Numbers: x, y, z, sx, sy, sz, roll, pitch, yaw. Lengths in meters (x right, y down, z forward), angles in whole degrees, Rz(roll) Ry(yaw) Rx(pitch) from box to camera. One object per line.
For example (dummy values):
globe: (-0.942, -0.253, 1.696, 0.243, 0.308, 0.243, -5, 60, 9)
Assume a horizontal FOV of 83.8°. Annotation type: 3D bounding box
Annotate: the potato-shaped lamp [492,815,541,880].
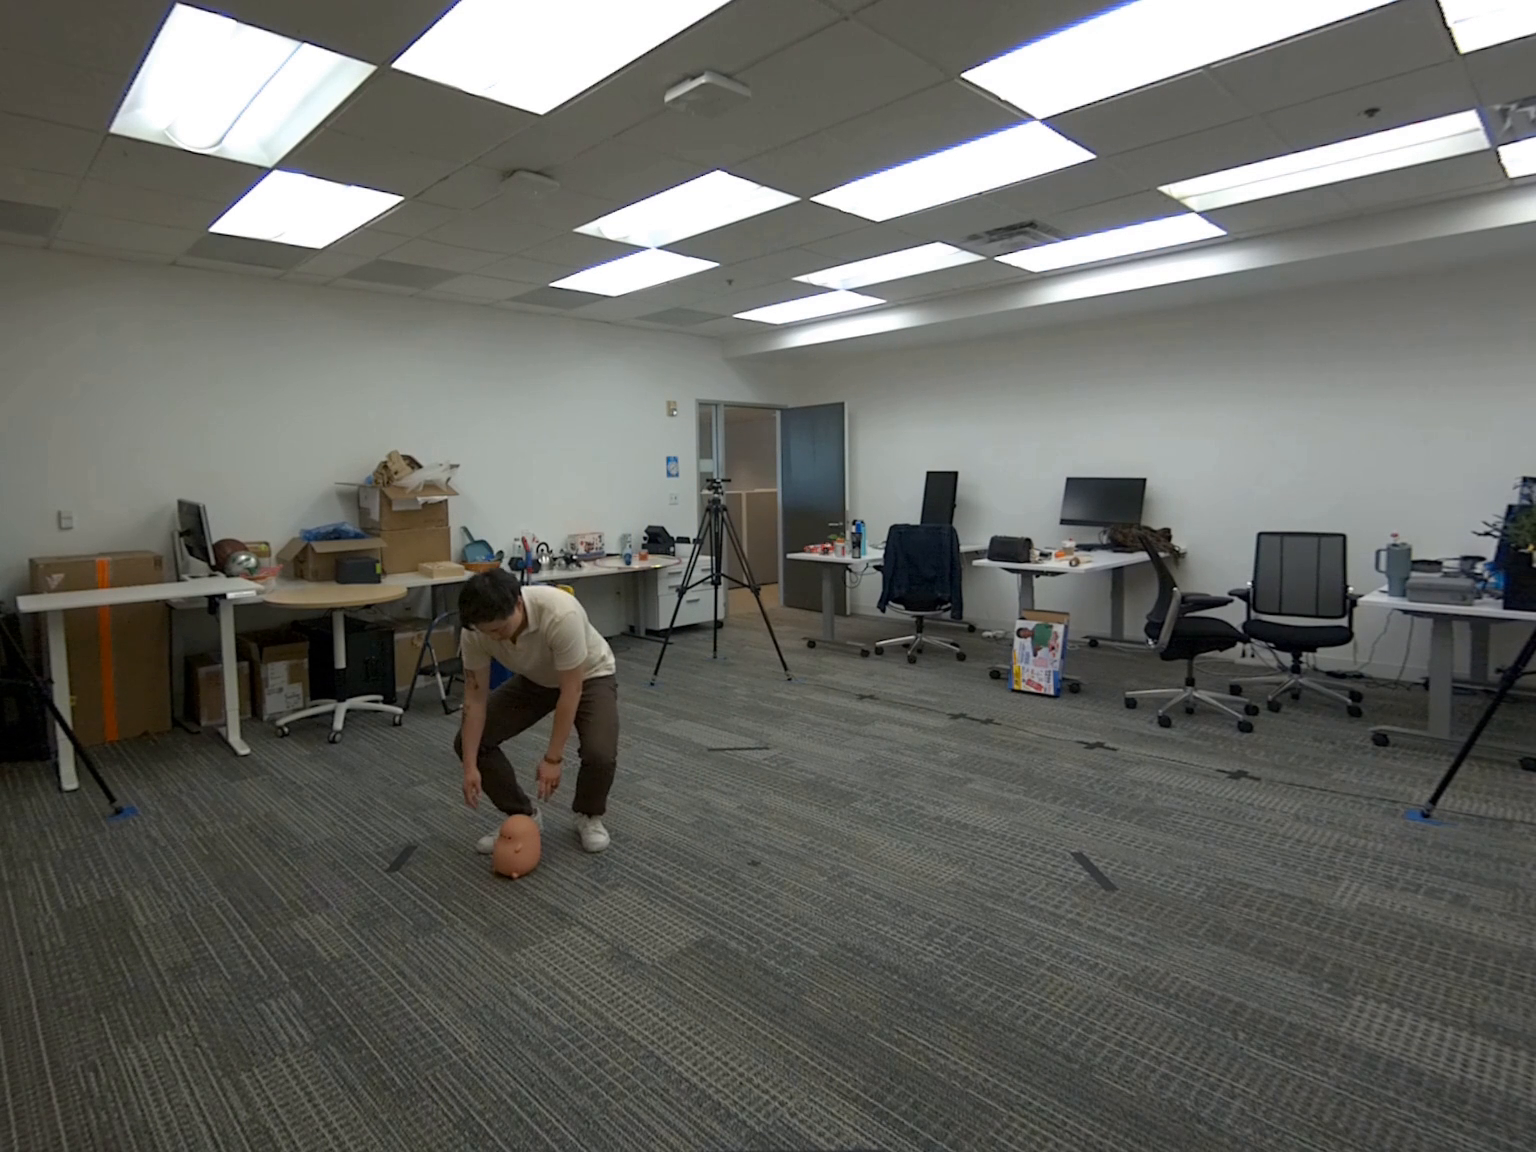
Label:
potato-shaped lamp: (-0.905, 0.965, 3.085, 0.168, 0.197, 0.168, -2, 5, 25)
